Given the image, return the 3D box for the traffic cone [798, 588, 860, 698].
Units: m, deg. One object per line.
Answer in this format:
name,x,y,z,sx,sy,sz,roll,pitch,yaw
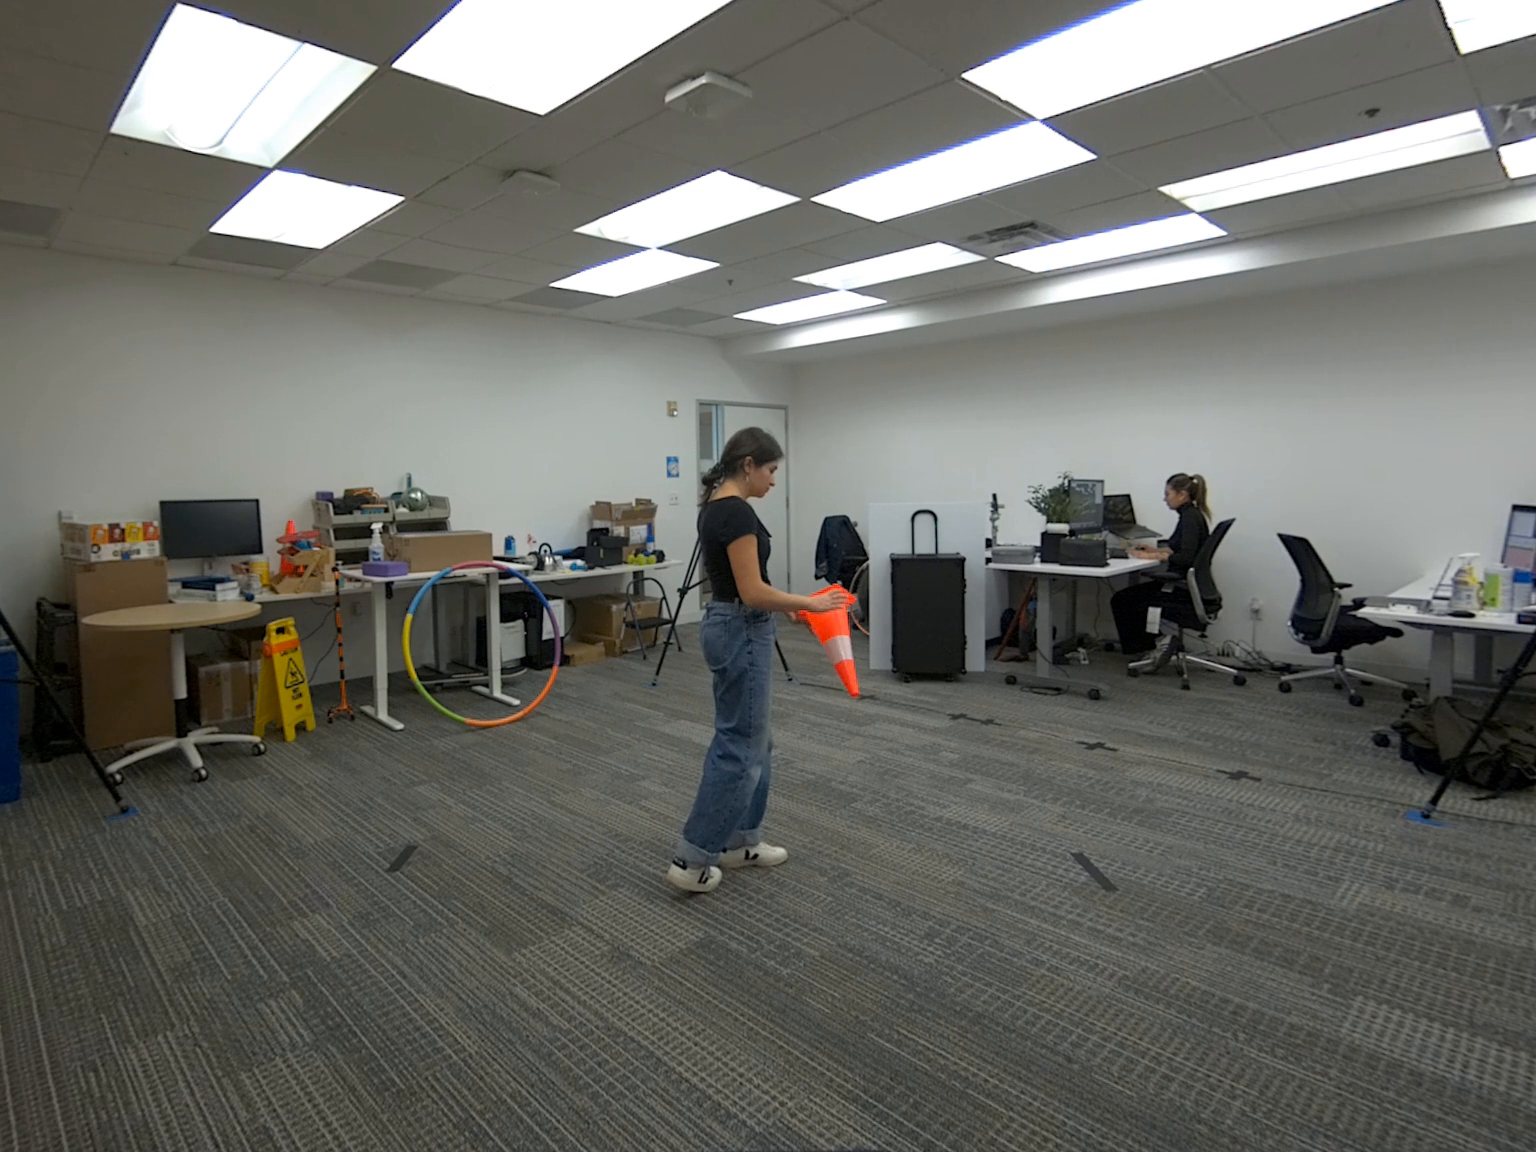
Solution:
traffic cone,0.246,0.271,3.069,0.204,0.396,0.197,-33,-35,20
